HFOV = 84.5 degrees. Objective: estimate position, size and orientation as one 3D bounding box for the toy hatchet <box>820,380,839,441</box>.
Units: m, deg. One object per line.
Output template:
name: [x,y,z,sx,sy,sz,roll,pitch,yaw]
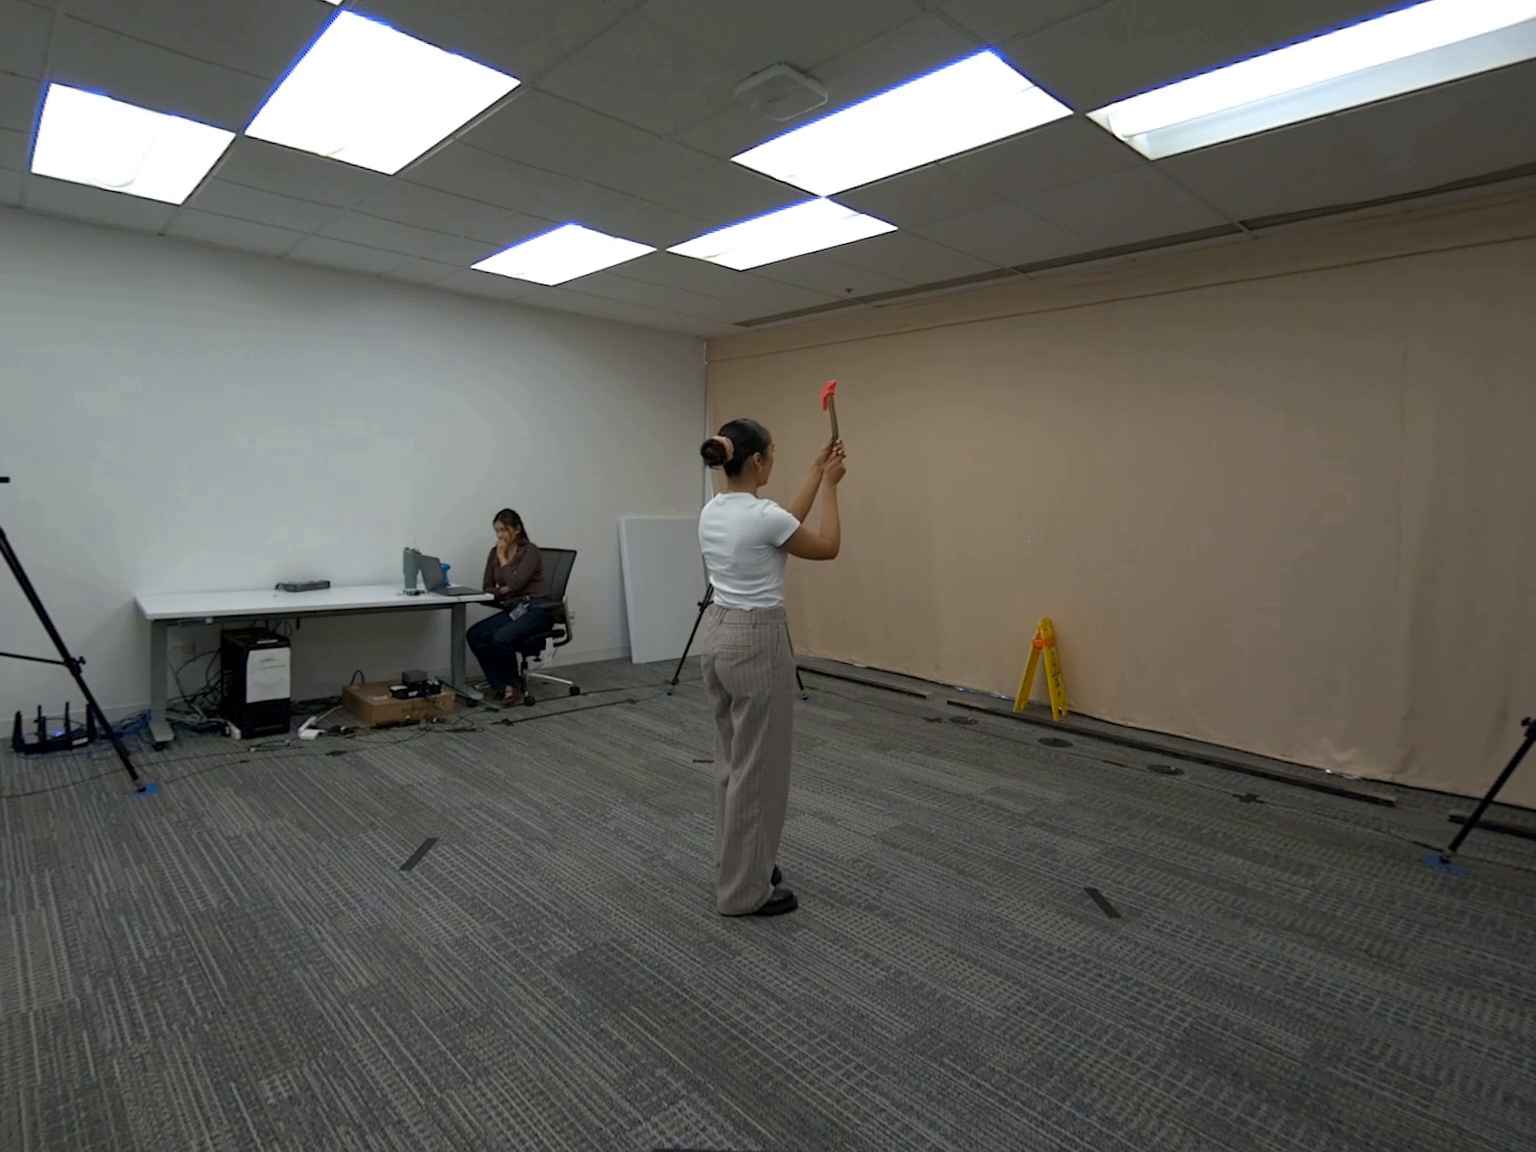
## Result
toy hatchet: [0.203,-0.546,2.935,0.029,0.270,0.133,1,0,-24]
